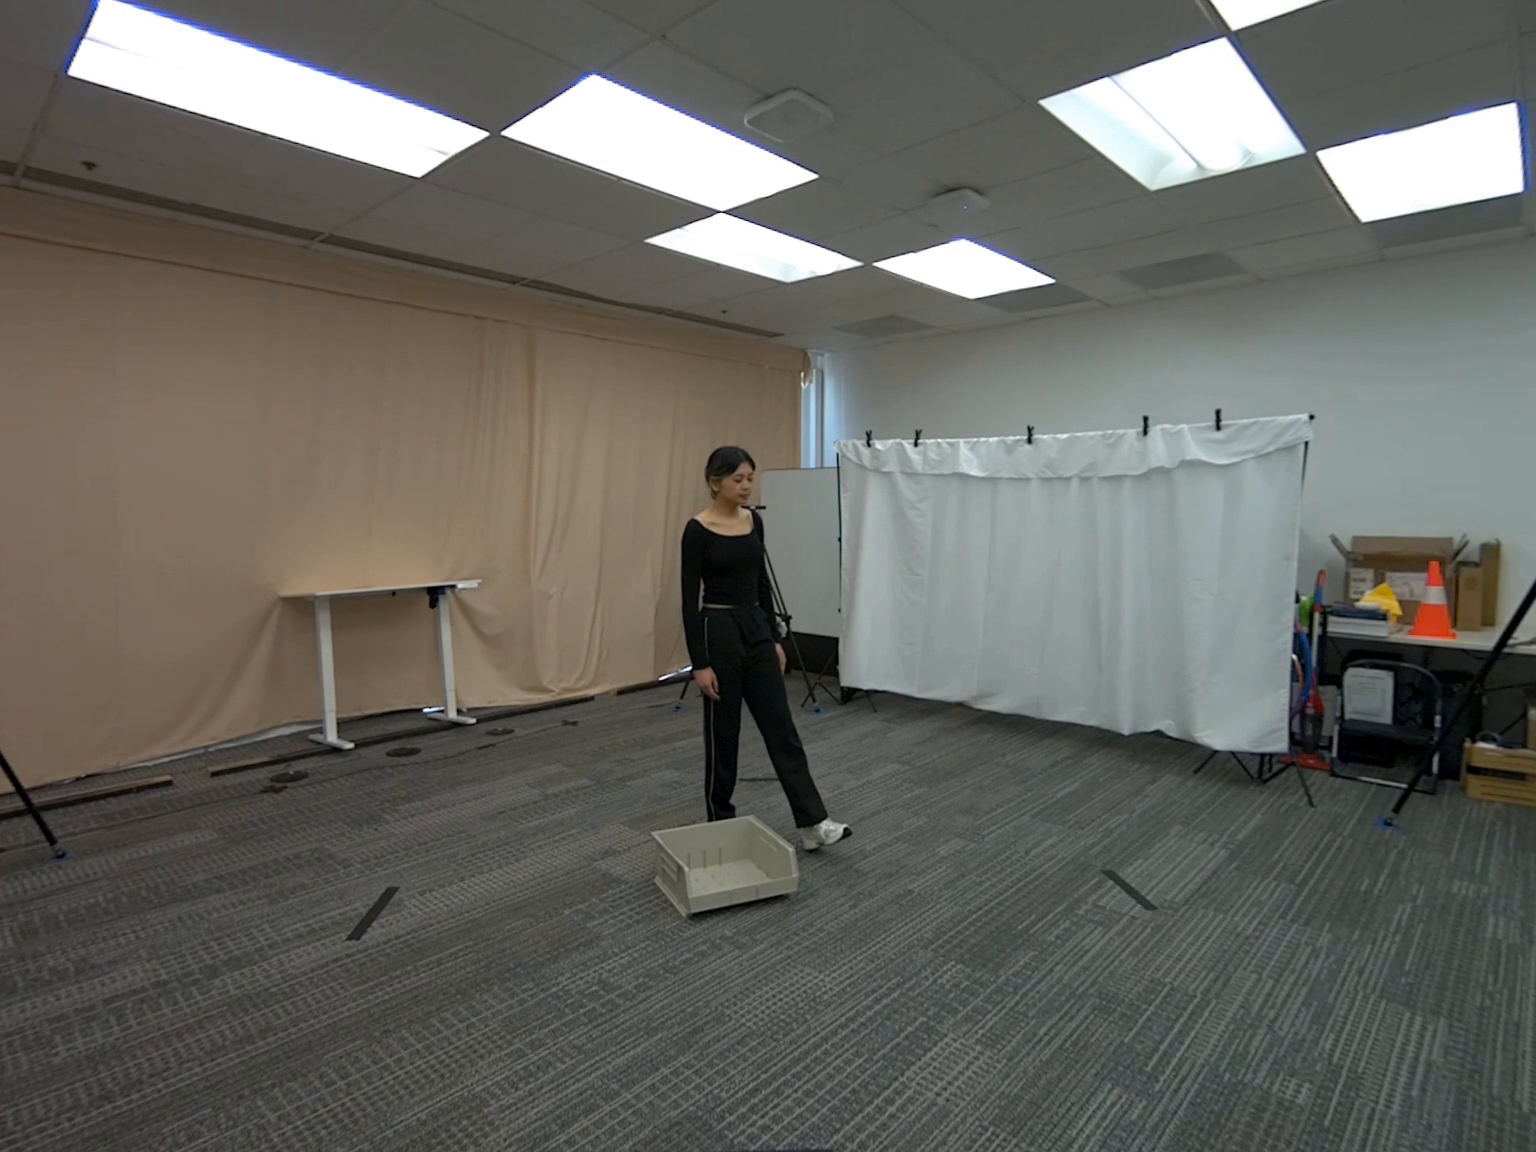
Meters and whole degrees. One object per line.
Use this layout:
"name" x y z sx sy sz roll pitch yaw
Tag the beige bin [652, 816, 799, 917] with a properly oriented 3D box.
"beige bin" -0.159 1.050 3.049 0.412 0.188 0.387 -3 4 -25
